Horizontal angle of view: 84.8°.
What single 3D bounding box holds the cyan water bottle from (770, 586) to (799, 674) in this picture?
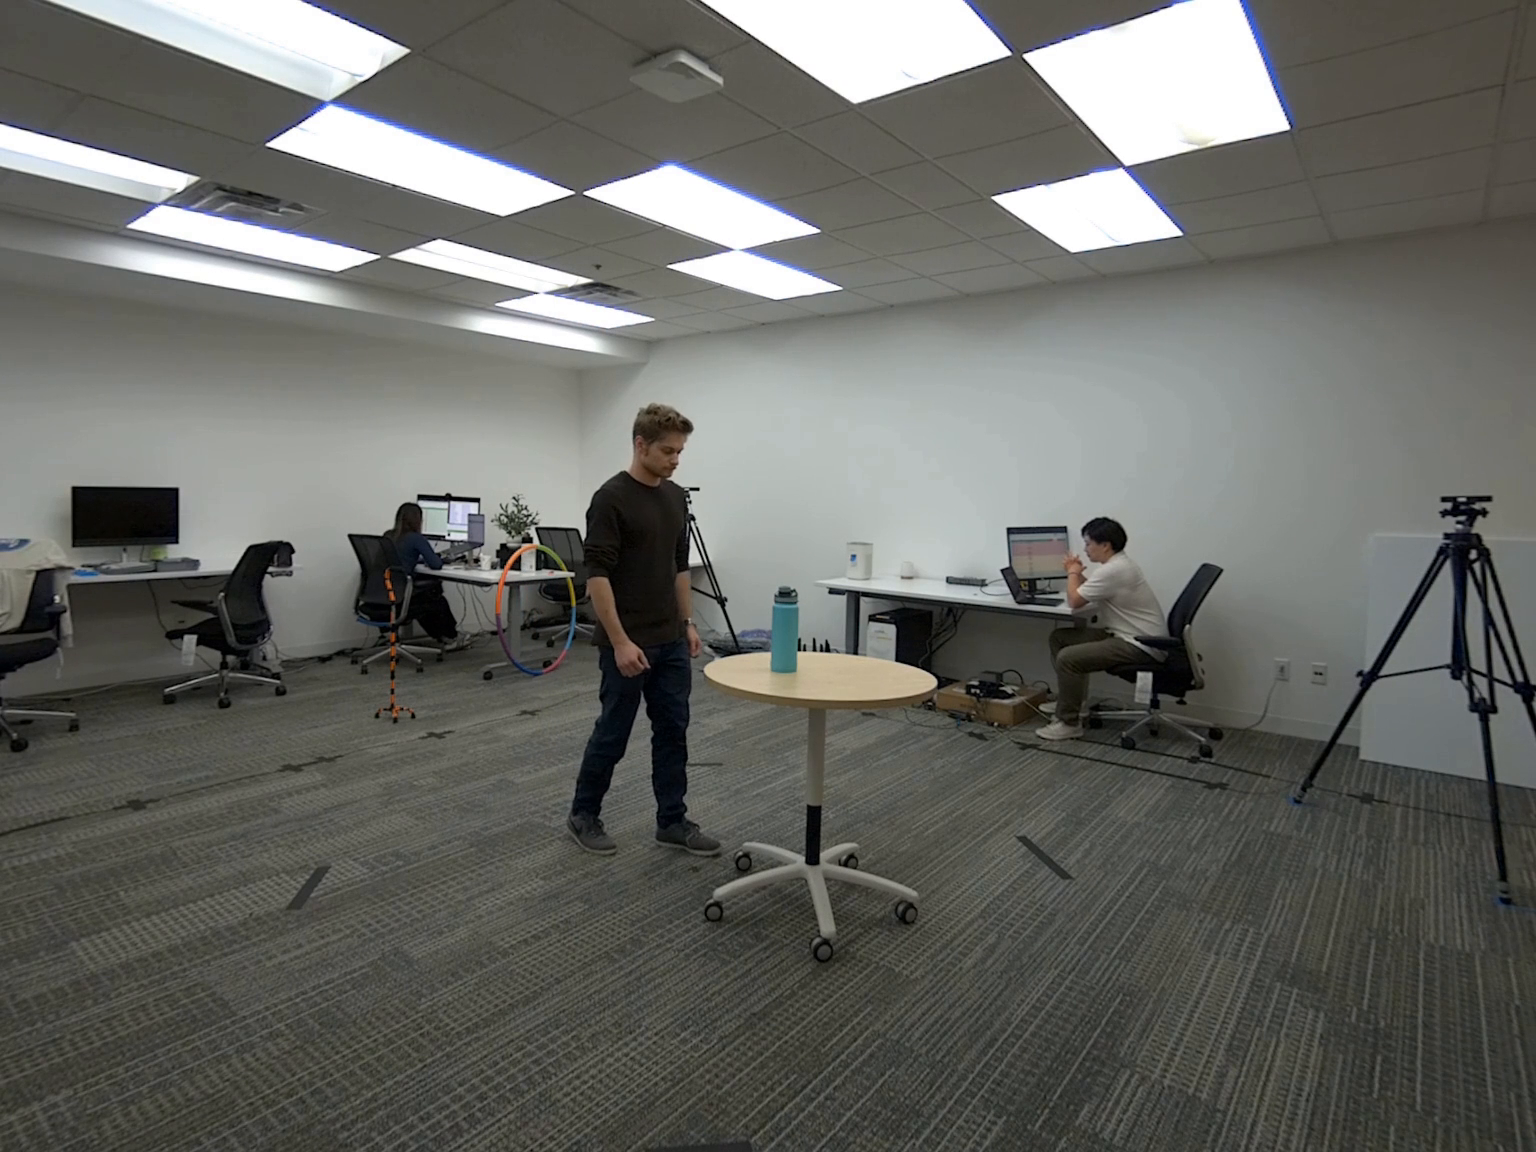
[{"bbox_3d":[0.059,0.175,2.850,0.092,0.283,0.092,4,2,-2],"label":"cyan water bottle"}]
